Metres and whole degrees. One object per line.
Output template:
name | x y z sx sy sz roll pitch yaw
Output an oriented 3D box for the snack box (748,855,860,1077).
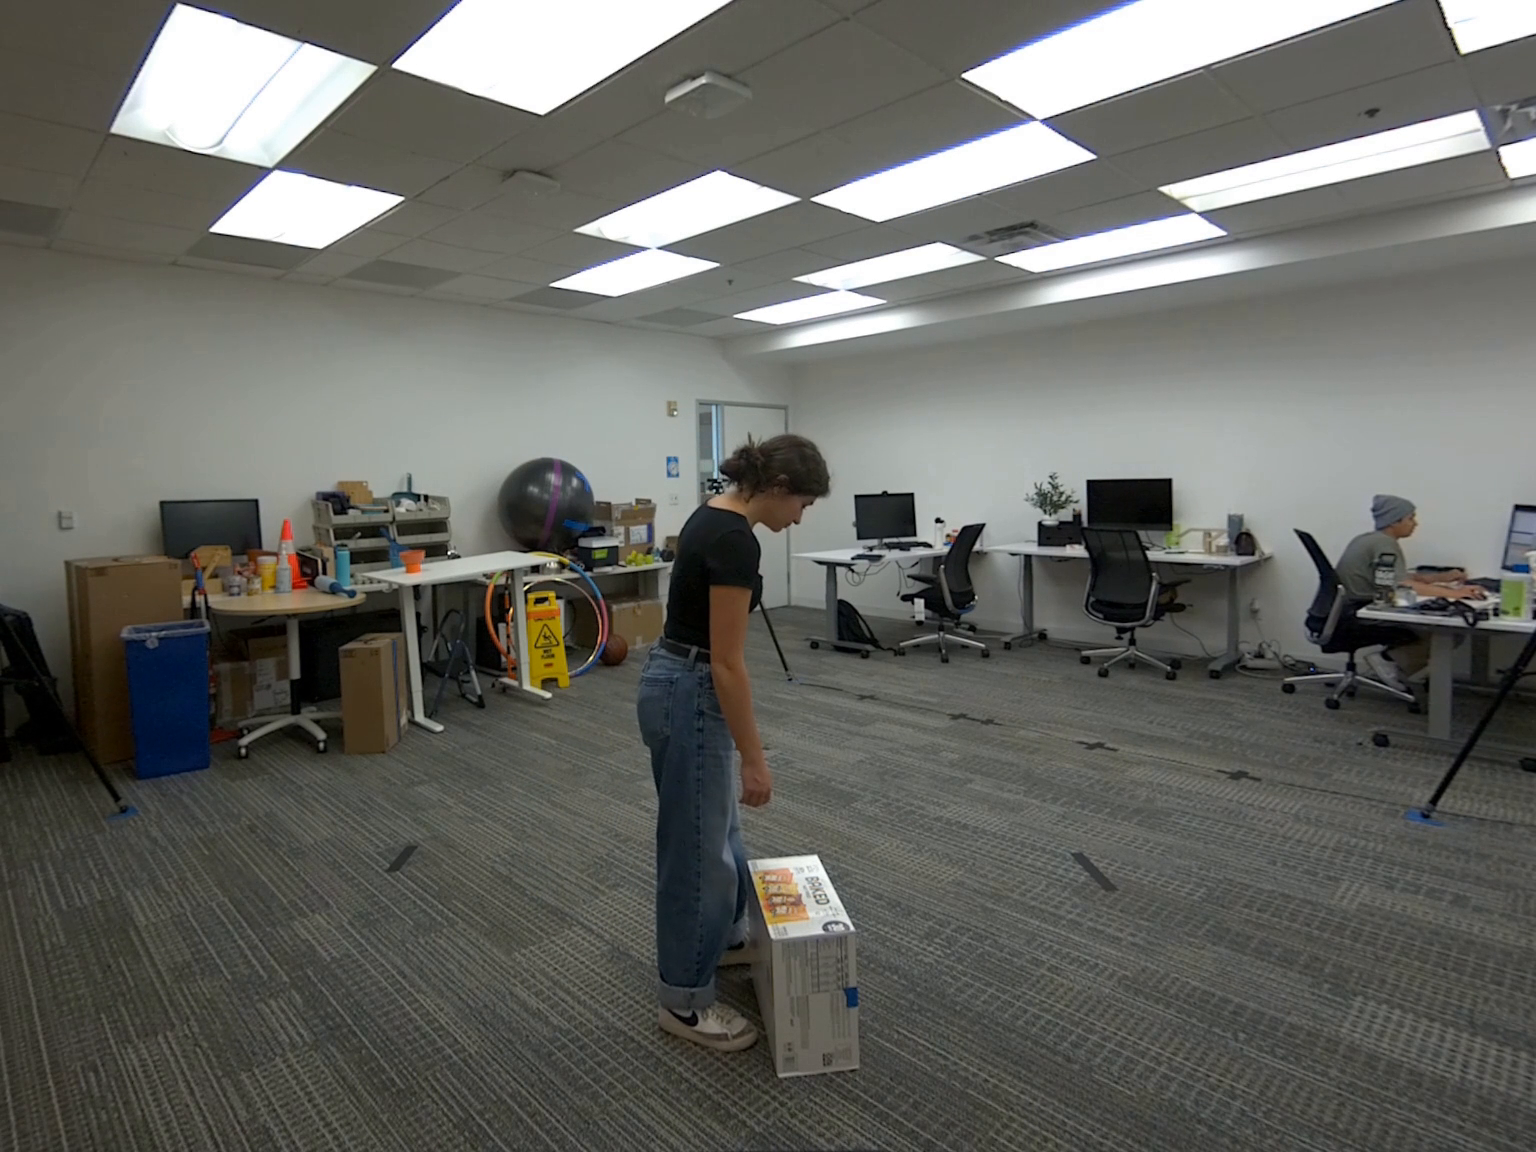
snack box | 0.080 0.976 2.201 0.204 0.339 0.410 -3 6 -10
